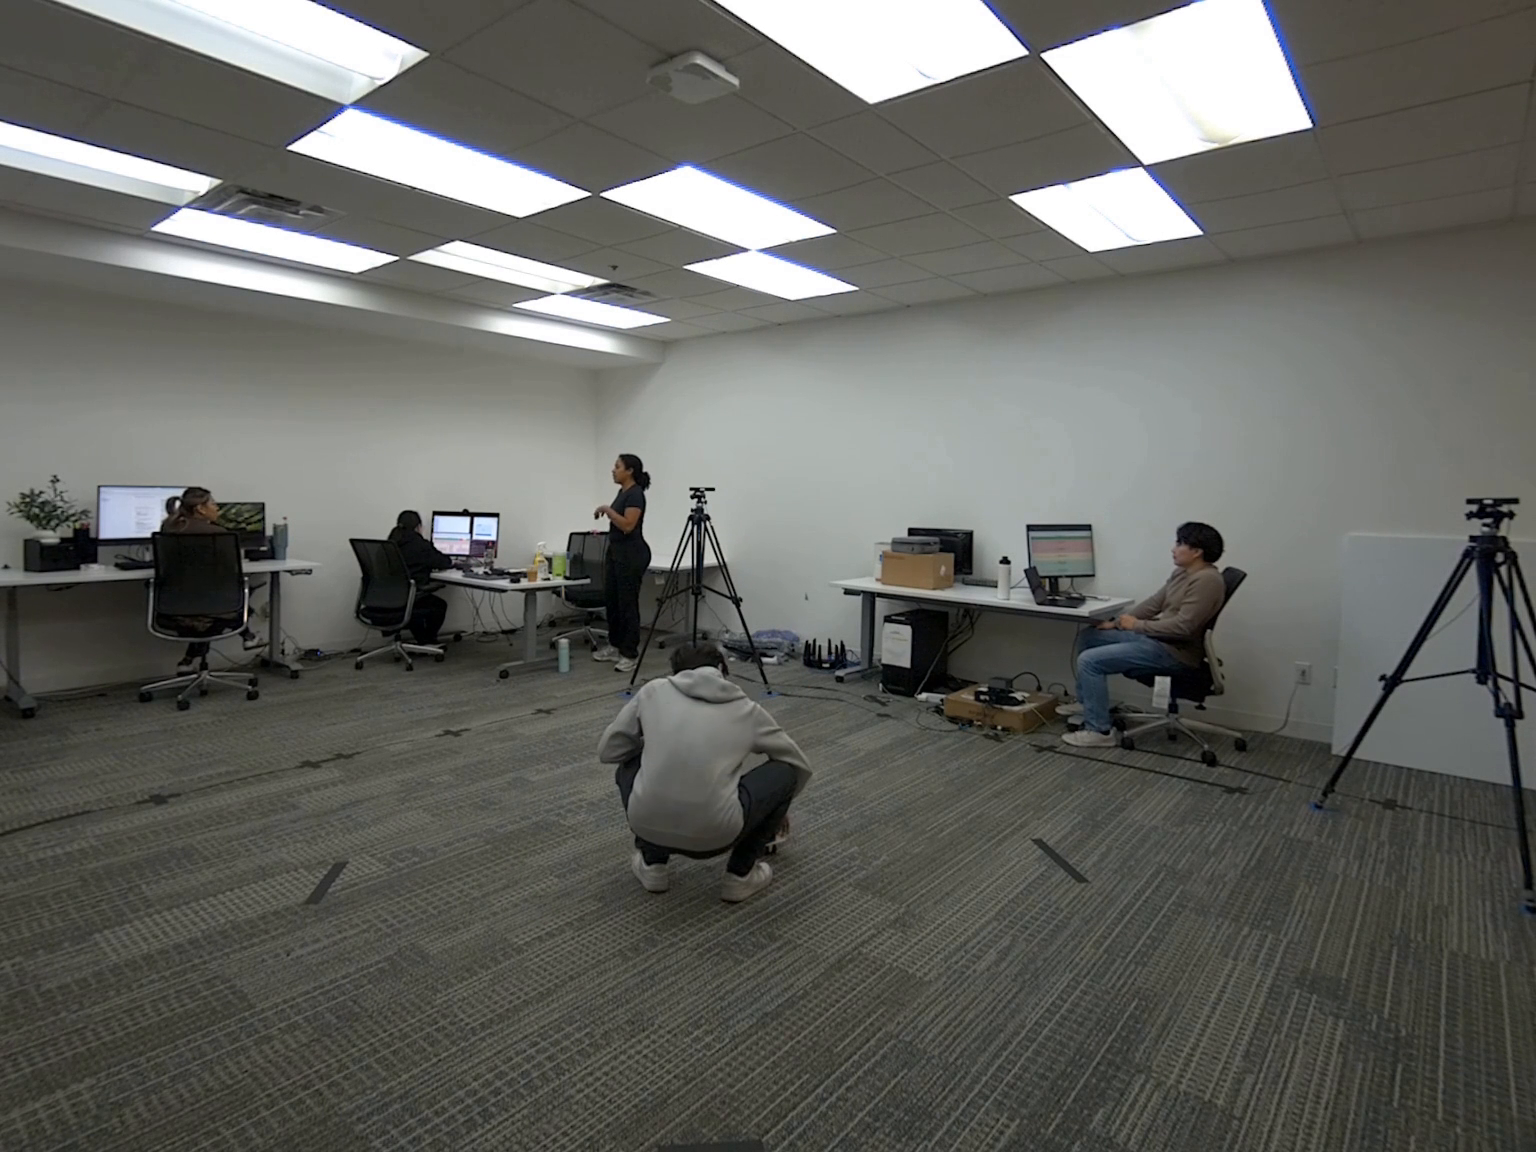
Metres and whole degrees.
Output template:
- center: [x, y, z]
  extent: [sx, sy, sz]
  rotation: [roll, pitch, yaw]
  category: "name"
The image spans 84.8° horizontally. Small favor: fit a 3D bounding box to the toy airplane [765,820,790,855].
- center: [-0.048, 0.966, 3.332]
  extent: [0.267, 0.156, 0.244]
  rotation: [4, 5, 31]
  category: "toy airplane"
